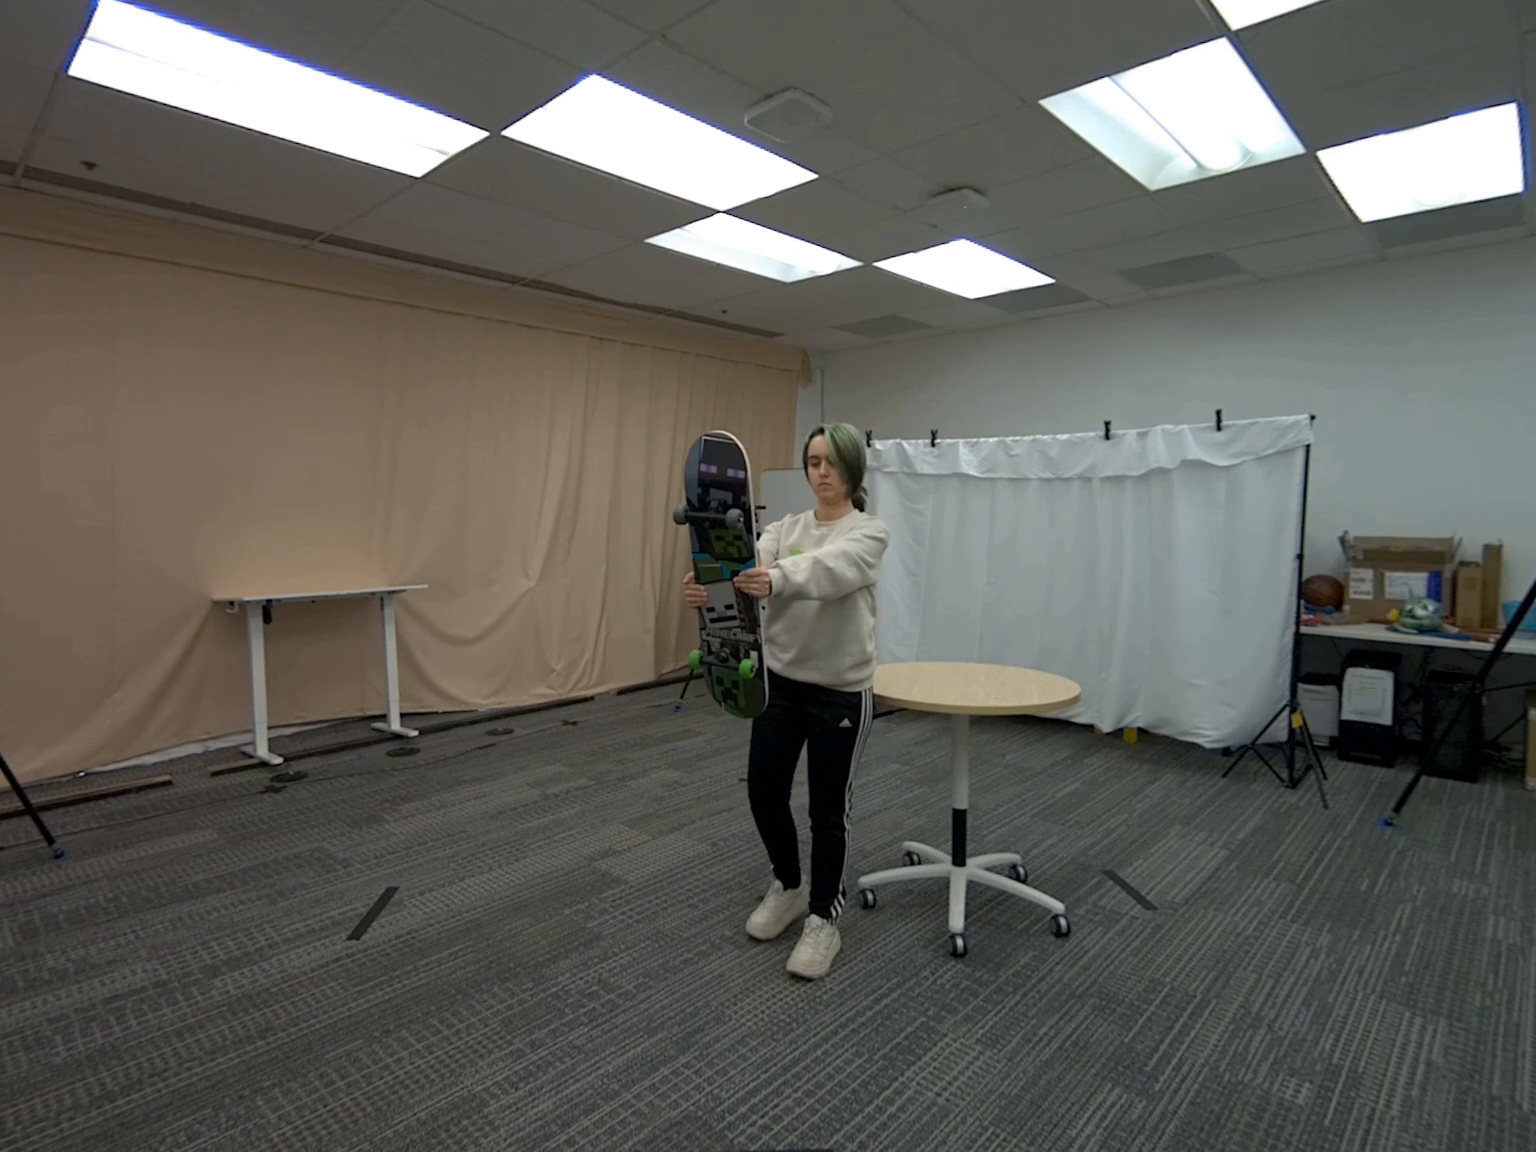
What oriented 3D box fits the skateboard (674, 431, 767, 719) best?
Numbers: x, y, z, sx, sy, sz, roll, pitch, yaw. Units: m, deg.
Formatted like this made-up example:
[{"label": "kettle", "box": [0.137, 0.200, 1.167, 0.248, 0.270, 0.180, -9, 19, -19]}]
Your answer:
[{"label": "skateboard", "box": [-0.118, 0.031, 2.143, 0.199, 0.776, 0.108, 8, 21, 30]}]
